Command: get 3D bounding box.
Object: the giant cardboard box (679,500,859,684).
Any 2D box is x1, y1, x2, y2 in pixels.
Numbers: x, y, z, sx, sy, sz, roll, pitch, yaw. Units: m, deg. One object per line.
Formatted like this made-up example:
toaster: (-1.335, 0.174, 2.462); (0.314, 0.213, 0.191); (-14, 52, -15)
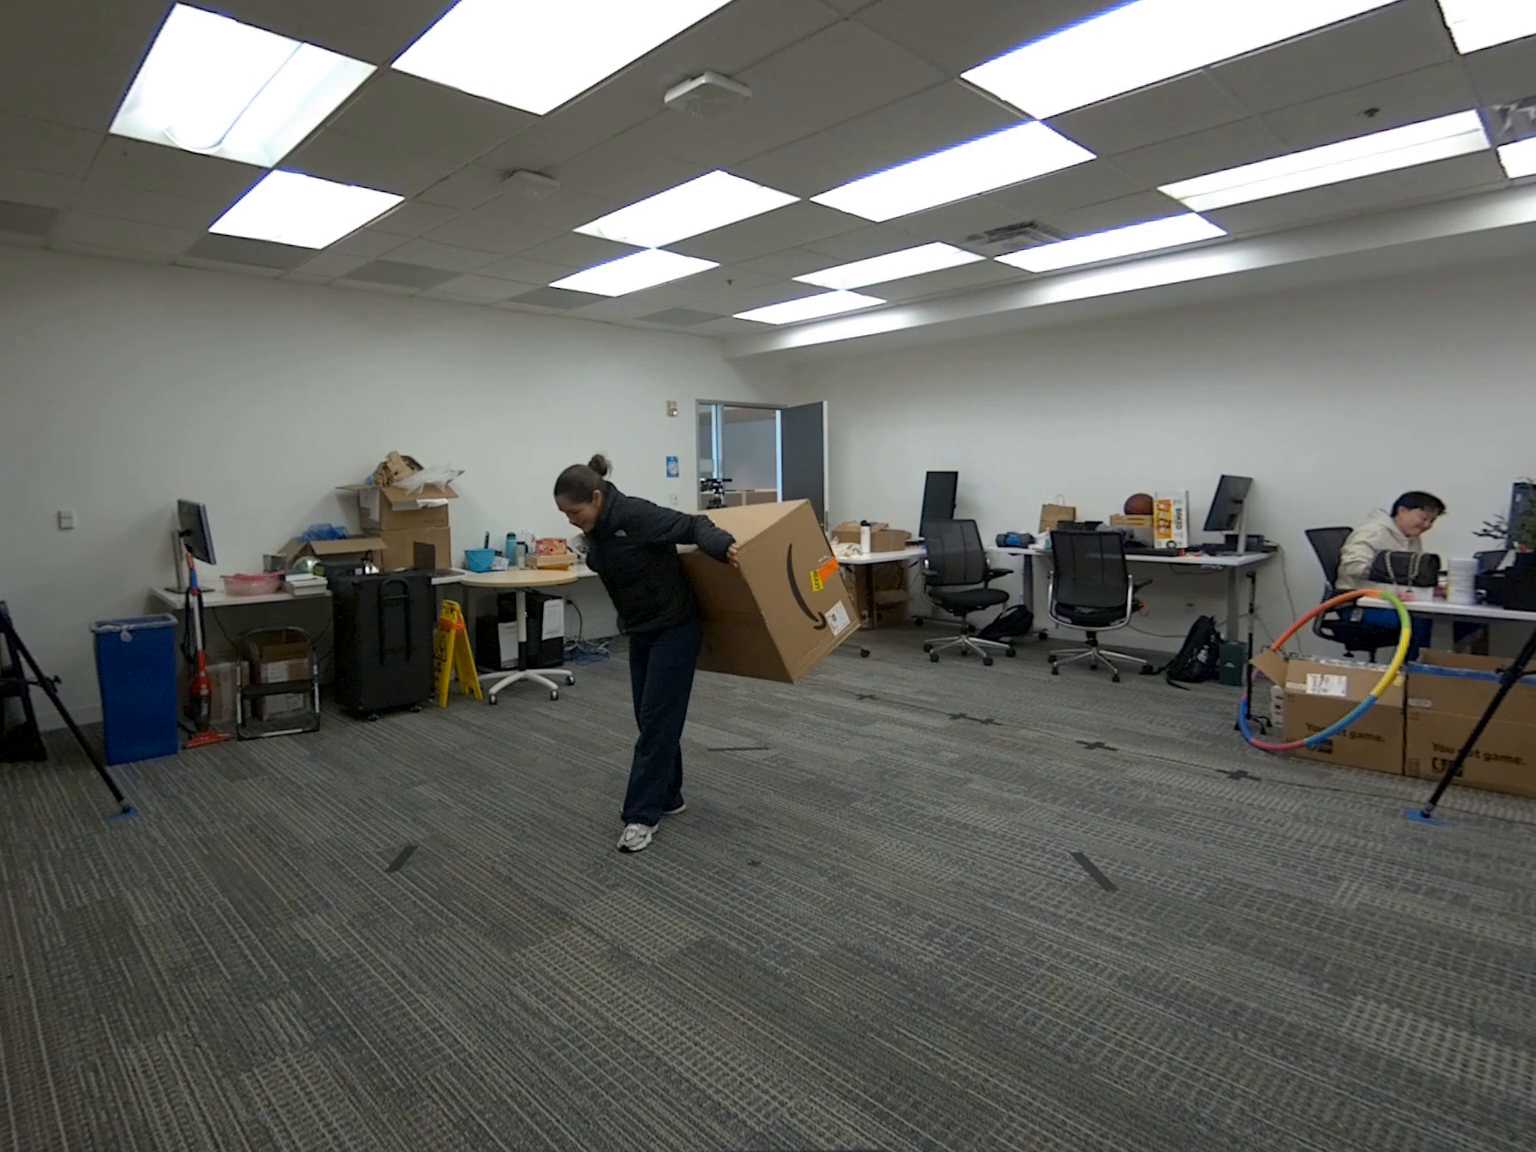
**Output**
giant cardboard box: (-0.194, 0.061, 3.647); (0.423, 0.567, 1.054); (-35, 20, -33)
